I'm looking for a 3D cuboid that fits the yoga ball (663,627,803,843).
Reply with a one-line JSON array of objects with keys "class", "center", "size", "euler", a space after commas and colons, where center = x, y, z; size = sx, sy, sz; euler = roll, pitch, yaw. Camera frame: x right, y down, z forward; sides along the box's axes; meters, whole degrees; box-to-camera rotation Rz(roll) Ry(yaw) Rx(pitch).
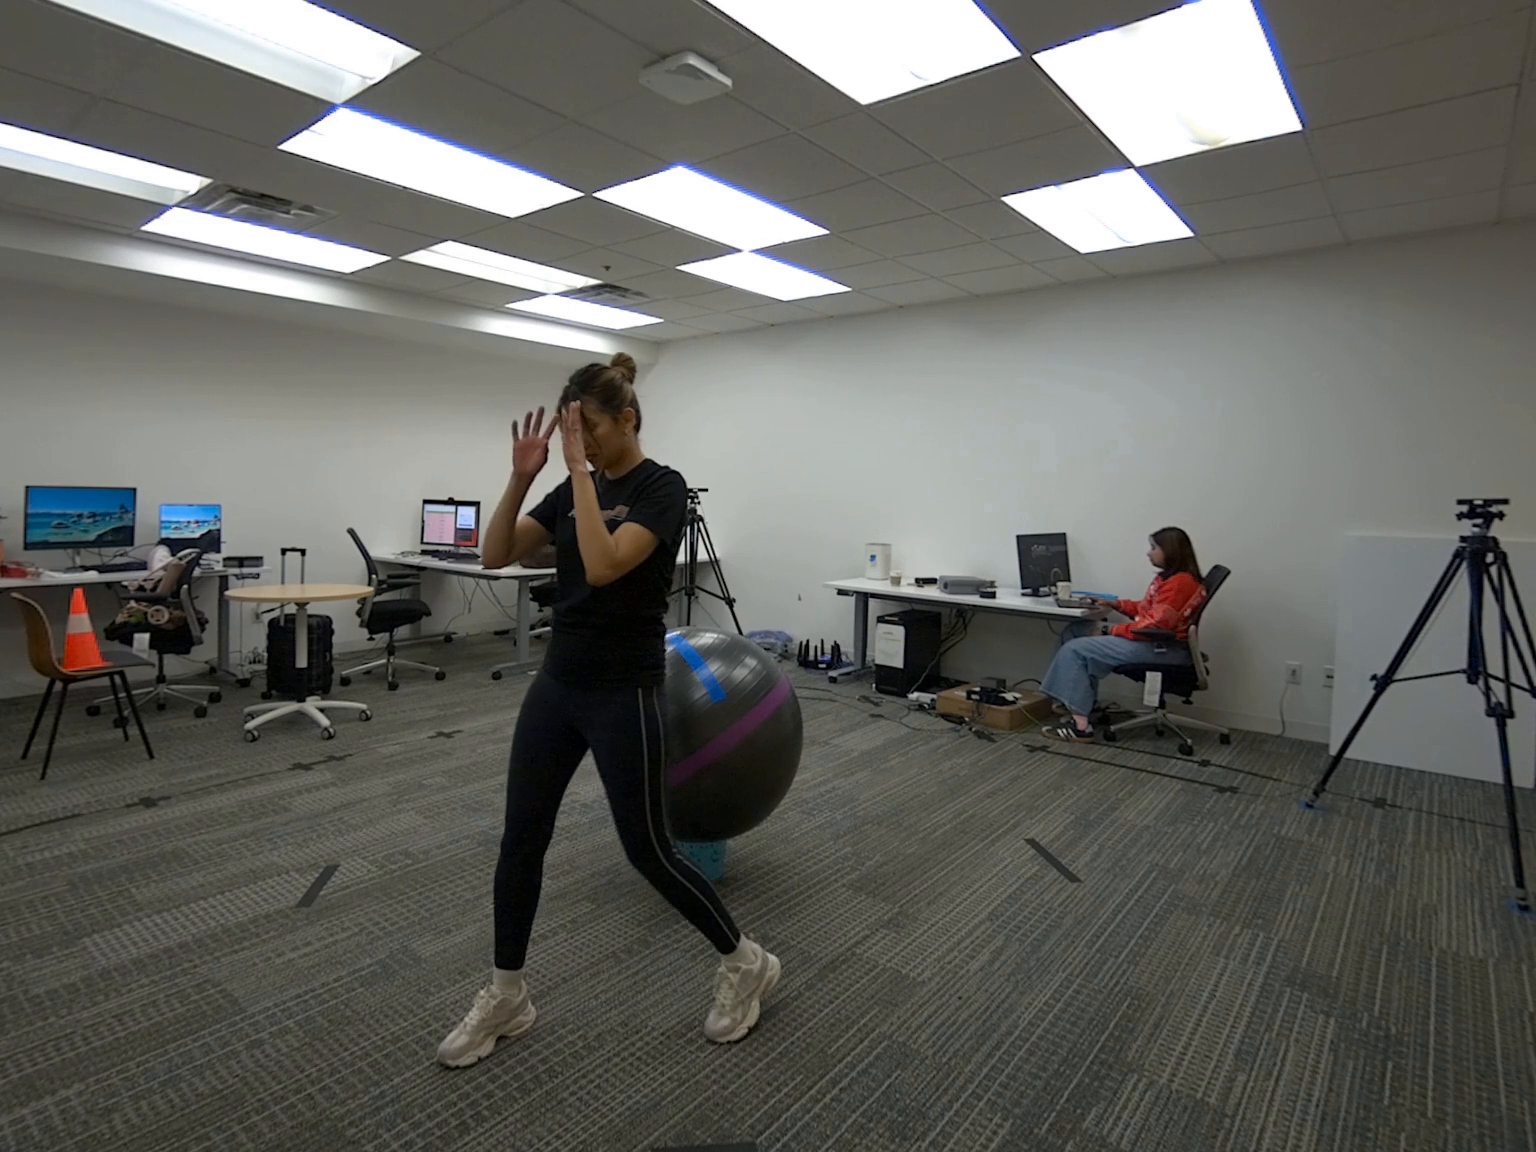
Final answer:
[{"class": "yoga ball", "center": [-0.264, 0.565, 3.069], "size": [0.757, 0.755, 0.762], "euler": [1, 4, -2]}]
